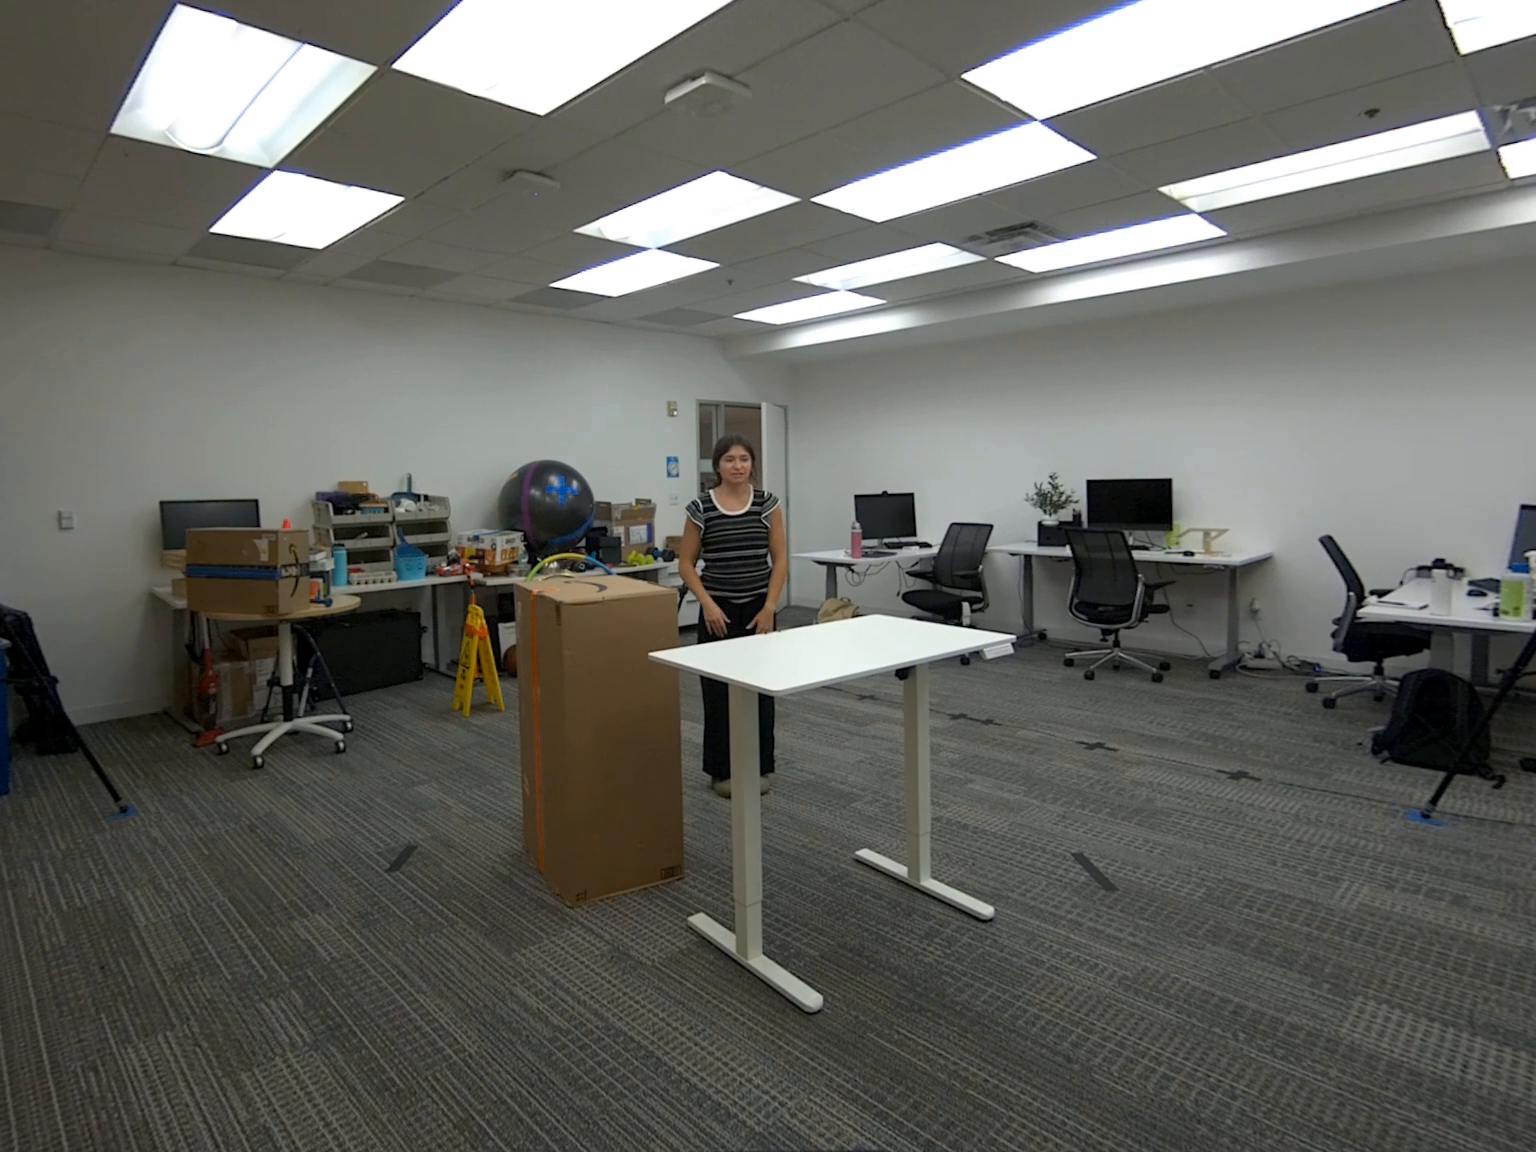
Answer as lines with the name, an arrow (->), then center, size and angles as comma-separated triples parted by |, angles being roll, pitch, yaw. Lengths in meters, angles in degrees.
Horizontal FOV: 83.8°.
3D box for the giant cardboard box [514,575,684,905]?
giant cardboard box -> -0.630, 0.544, 3.112 | 0.416, 1.022, 0.593 | -4, 5, -30
